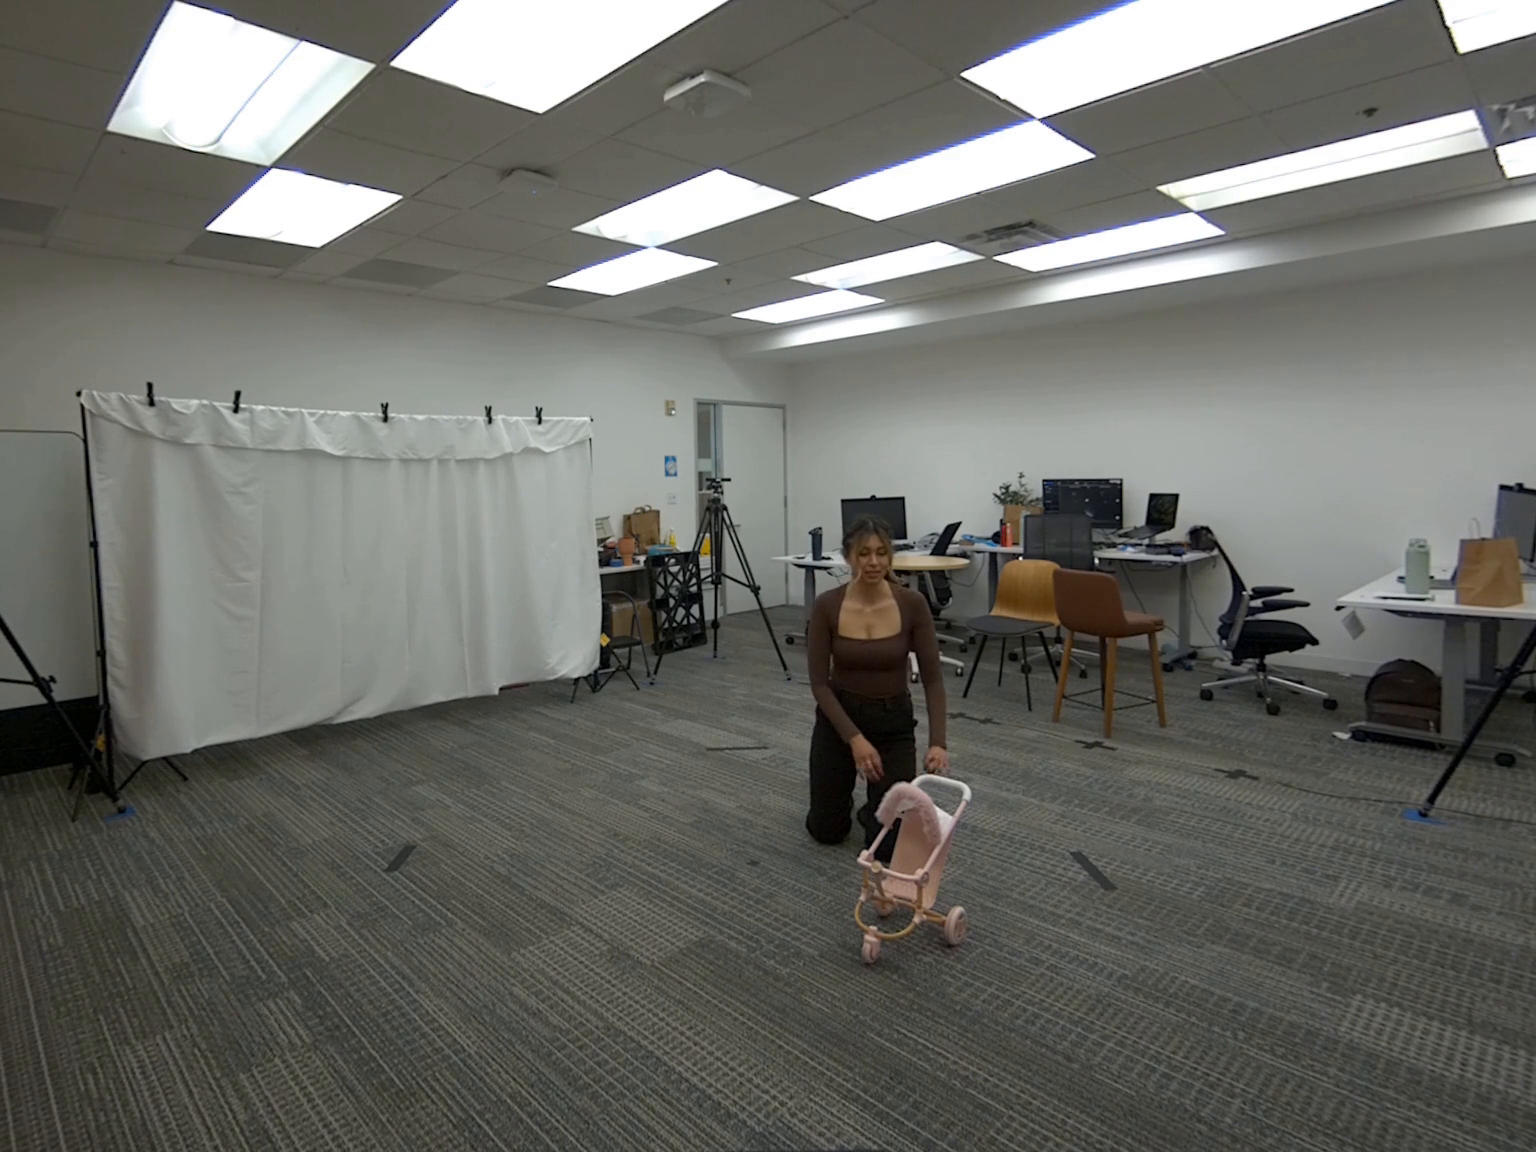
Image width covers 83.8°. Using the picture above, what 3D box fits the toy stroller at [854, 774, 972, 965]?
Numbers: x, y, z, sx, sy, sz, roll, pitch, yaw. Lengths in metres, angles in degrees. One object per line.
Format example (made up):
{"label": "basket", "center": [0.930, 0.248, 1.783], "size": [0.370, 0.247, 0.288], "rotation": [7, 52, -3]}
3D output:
{"label": "toy stroller", "center": [0.421, 0.876, 2.579], "size": [0.329, 0.538, 0.290], "rotation": [17, -10, -42]}
